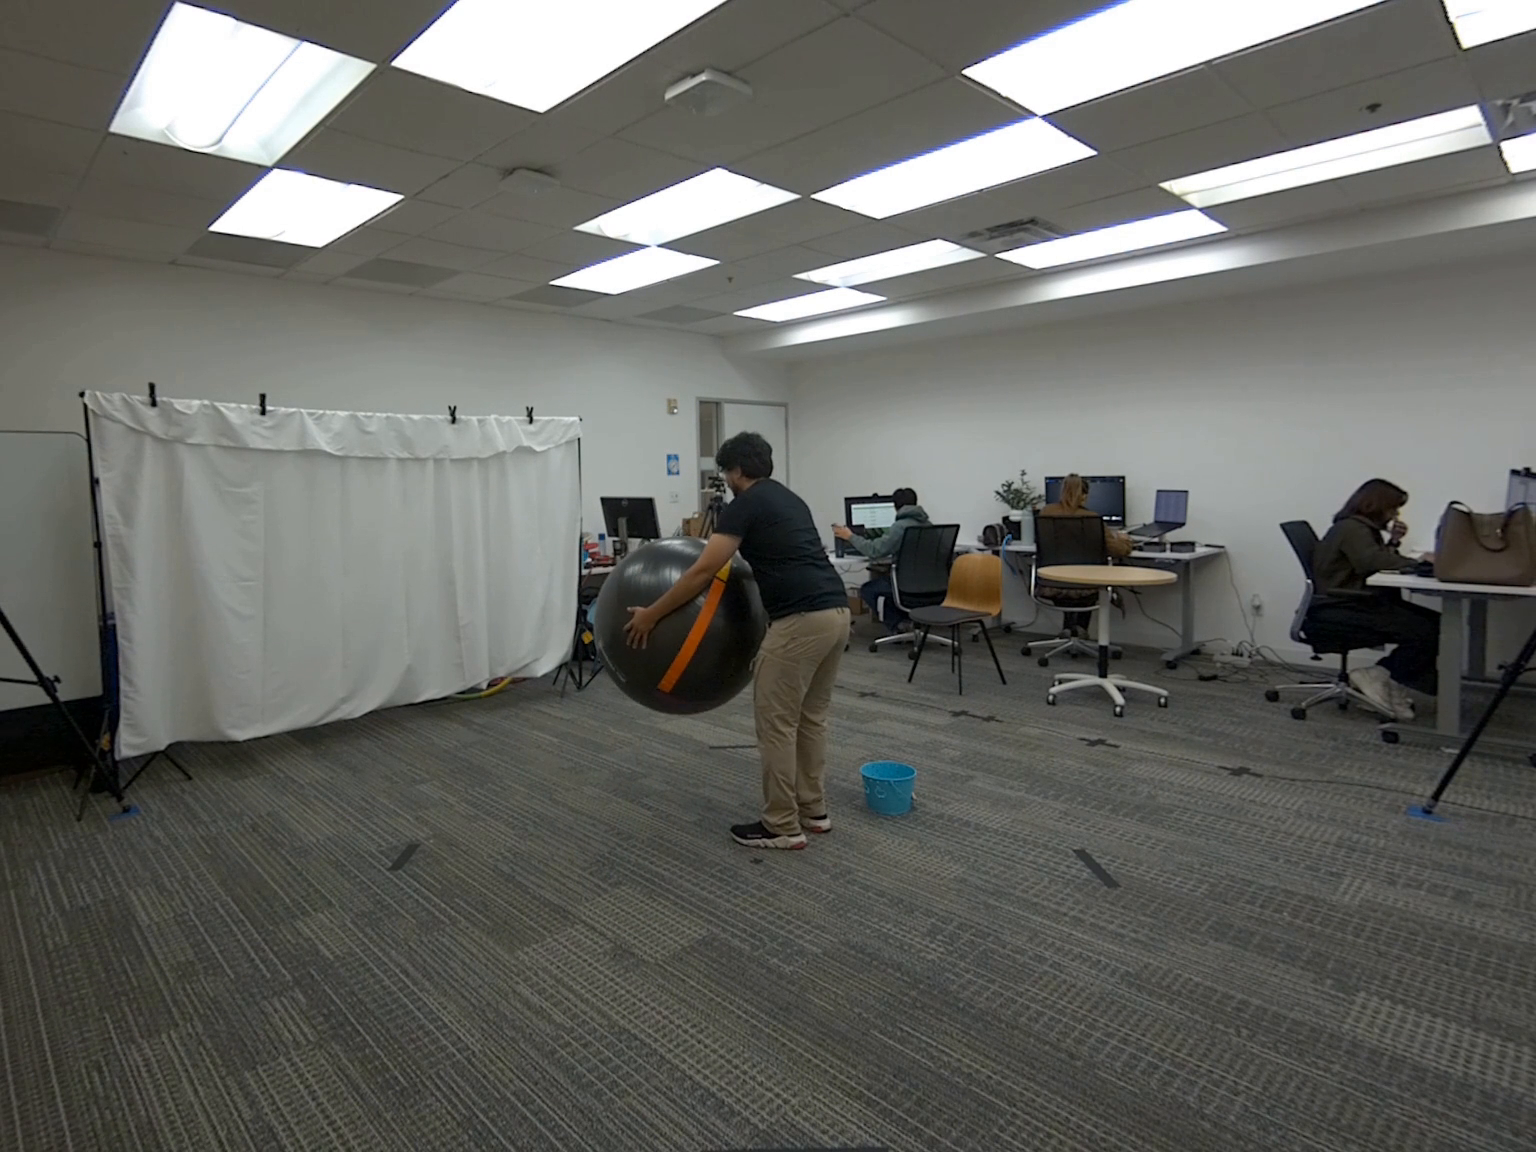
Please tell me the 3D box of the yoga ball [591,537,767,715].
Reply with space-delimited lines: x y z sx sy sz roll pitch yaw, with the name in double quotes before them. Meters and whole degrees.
"yoga ball" -0.365 0.215 3.662 0.757 0.755 0.762 -1 5 -2
